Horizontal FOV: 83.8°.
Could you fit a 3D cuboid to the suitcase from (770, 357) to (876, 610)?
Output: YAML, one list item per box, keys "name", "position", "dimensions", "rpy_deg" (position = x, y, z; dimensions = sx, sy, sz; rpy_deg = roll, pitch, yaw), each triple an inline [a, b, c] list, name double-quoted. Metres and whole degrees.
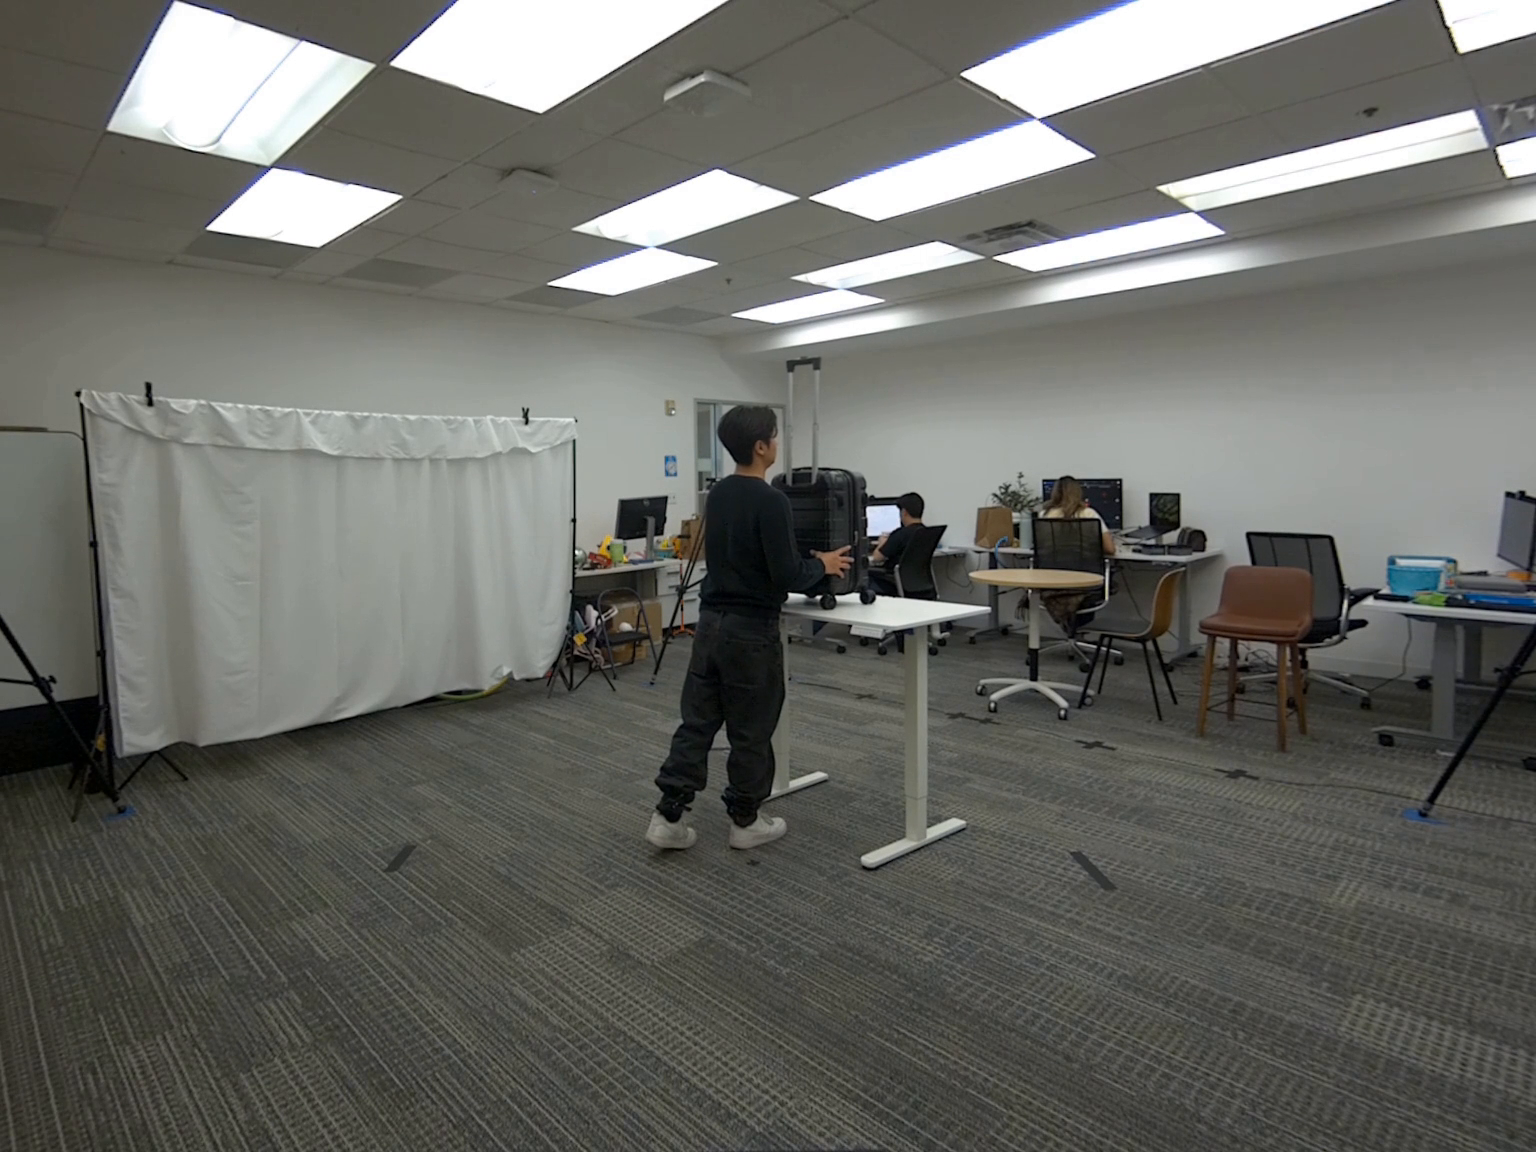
- name: "suitcase"
  position: [0.206, -0.372, 3.469]
  dimensions: [0.250, 0.977, 0.396]
  rpy_deg: [-2, 3, -44]
